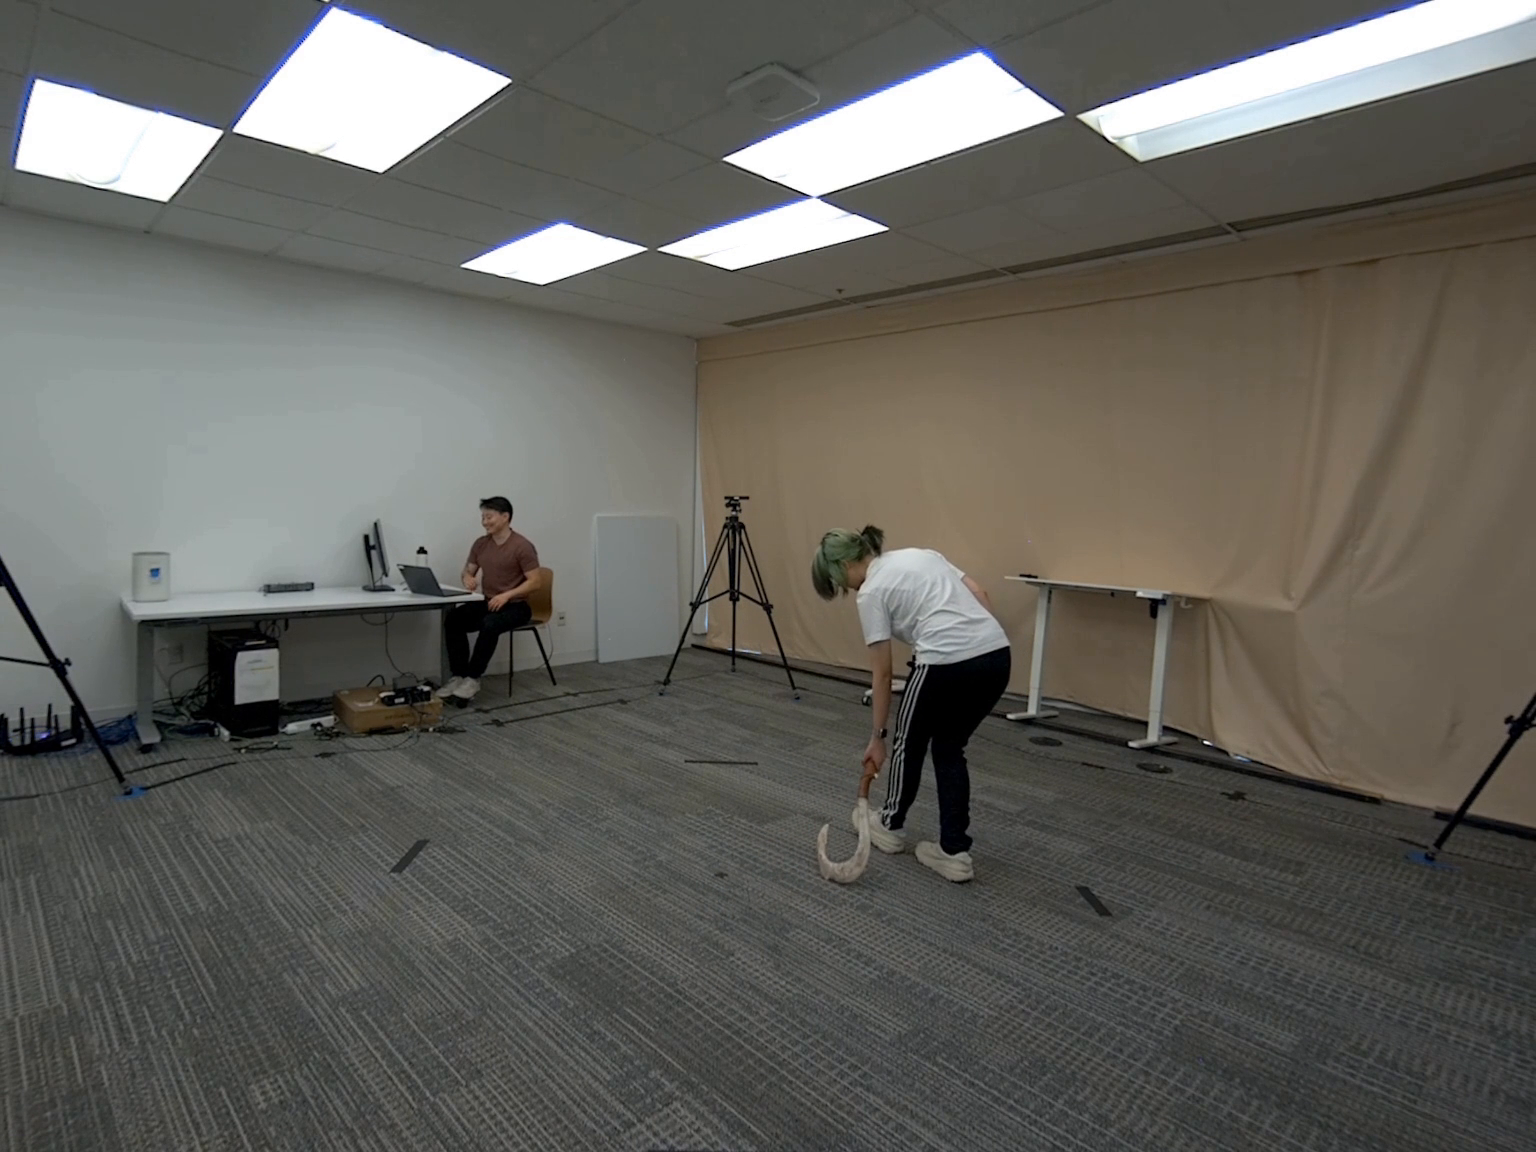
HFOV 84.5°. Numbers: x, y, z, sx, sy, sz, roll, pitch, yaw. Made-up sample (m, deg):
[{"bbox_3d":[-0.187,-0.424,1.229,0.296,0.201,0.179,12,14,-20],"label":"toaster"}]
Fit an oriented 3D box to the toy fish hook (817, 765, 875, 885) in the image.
[{"bbox_3d":[0.298,0.889,3.164,0.229,0.512,0.047,-4,-32,33],"label":"toy fish hook"}]
